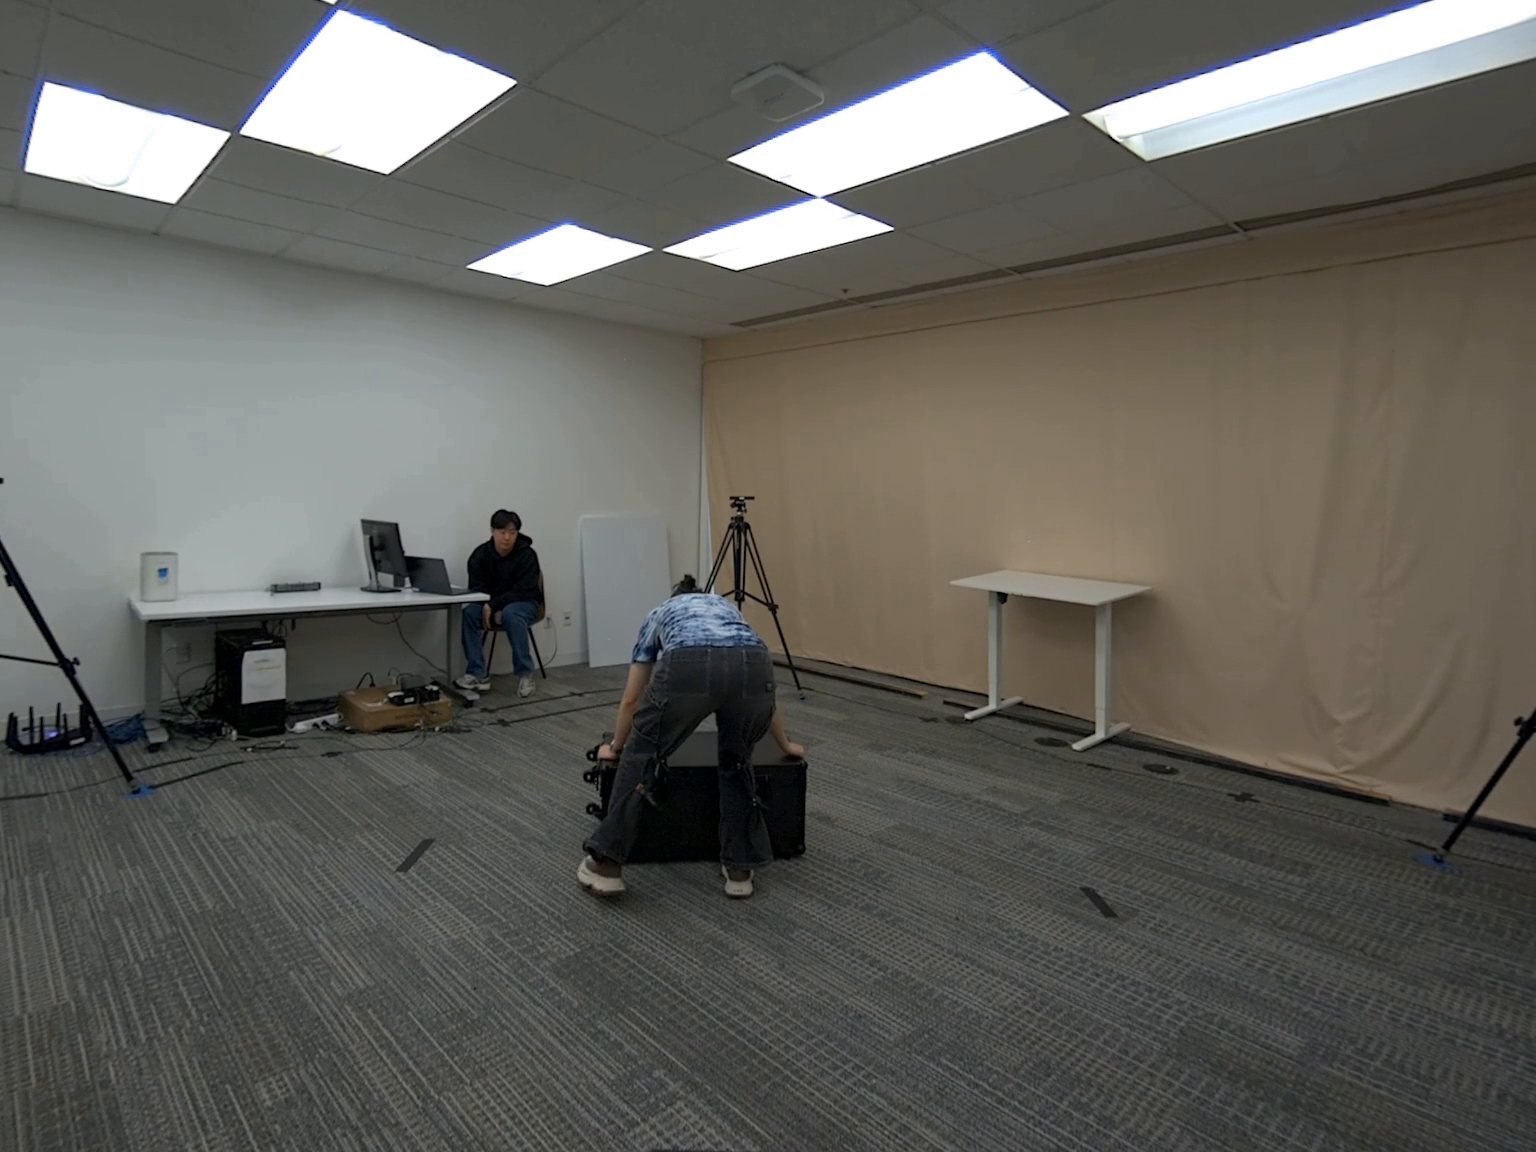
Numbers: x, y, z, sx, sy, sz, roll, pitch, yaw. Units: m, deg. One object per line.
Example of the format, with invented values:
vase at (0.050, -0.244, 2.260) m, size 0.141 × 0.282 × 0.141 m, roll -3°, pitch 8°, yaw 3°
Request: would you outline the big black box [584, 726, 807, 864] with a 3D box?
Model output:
big black box at (-0.264, 0.877, 3.429) m, size 0.856 × 0.395 × 0.526 m, roll 0°, pitch 6°, yaw -8°
